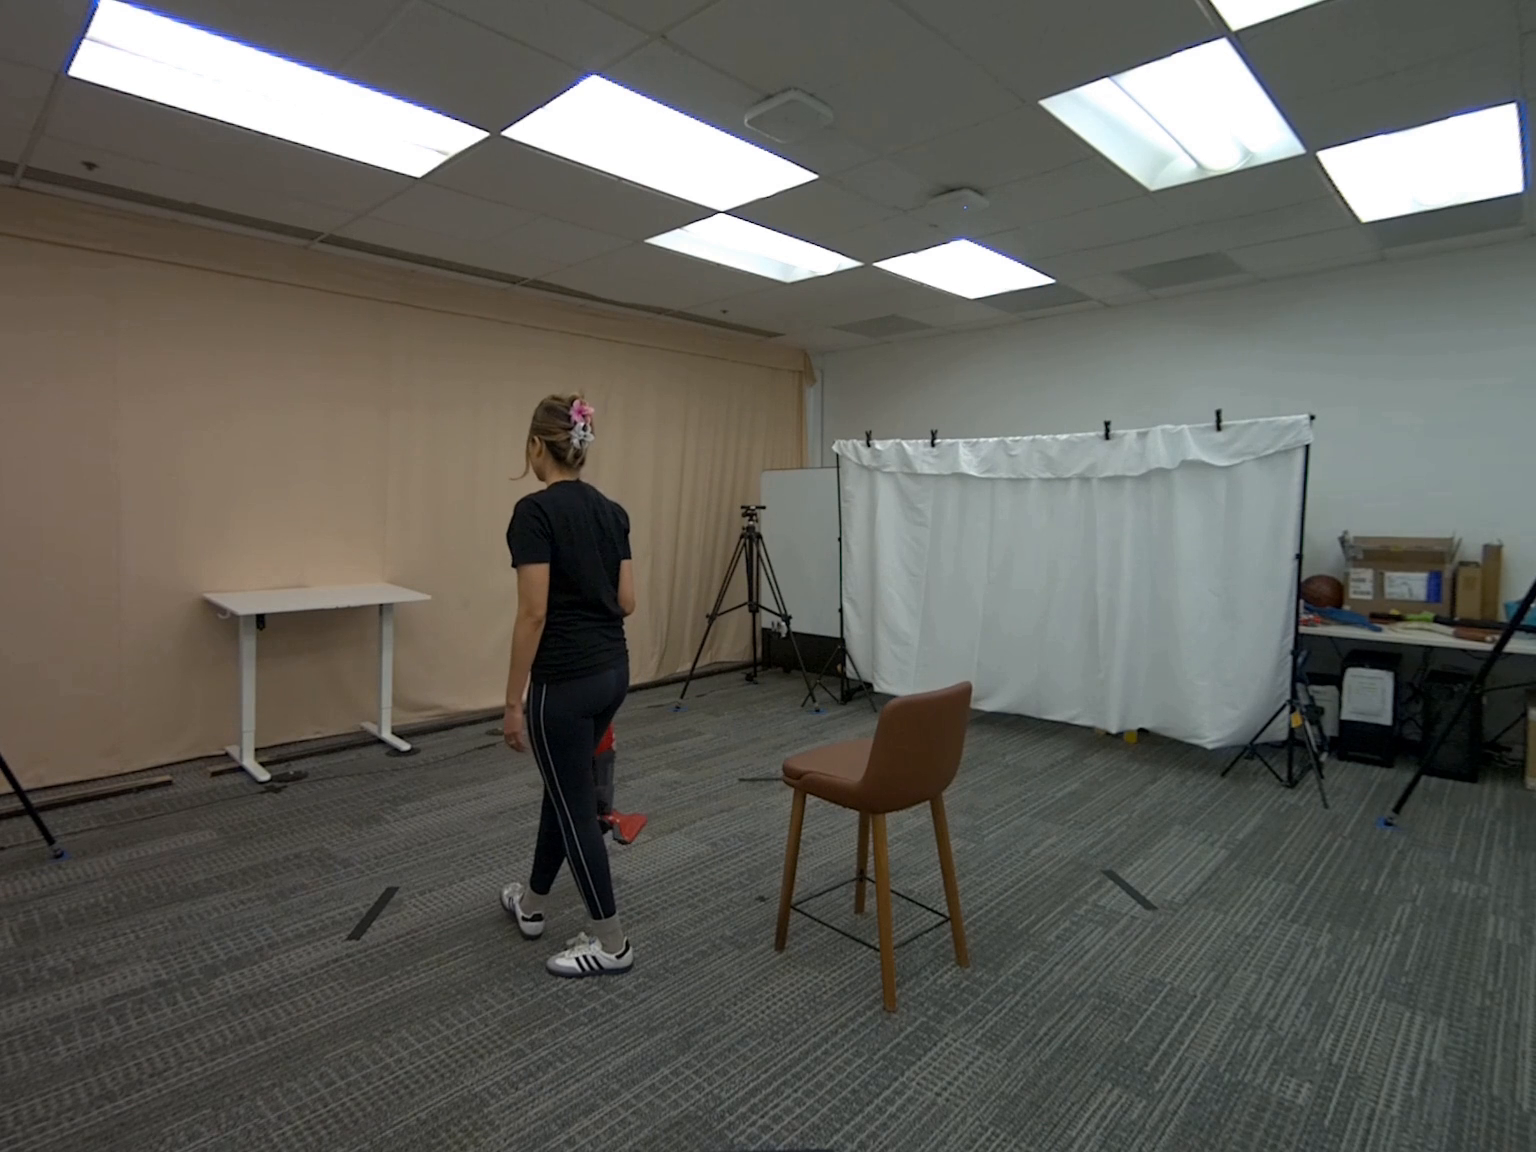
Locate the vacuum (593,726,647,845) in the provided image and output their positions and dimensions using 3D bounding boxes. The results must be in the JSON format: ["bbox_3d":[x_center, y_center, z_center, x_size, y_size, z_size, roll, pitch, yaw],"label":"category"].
[{"bbox_3d":[-0.627,0.356,2.902,0.145,1.051,0.250,-14,-2,8],"label":"vacuum"}]
